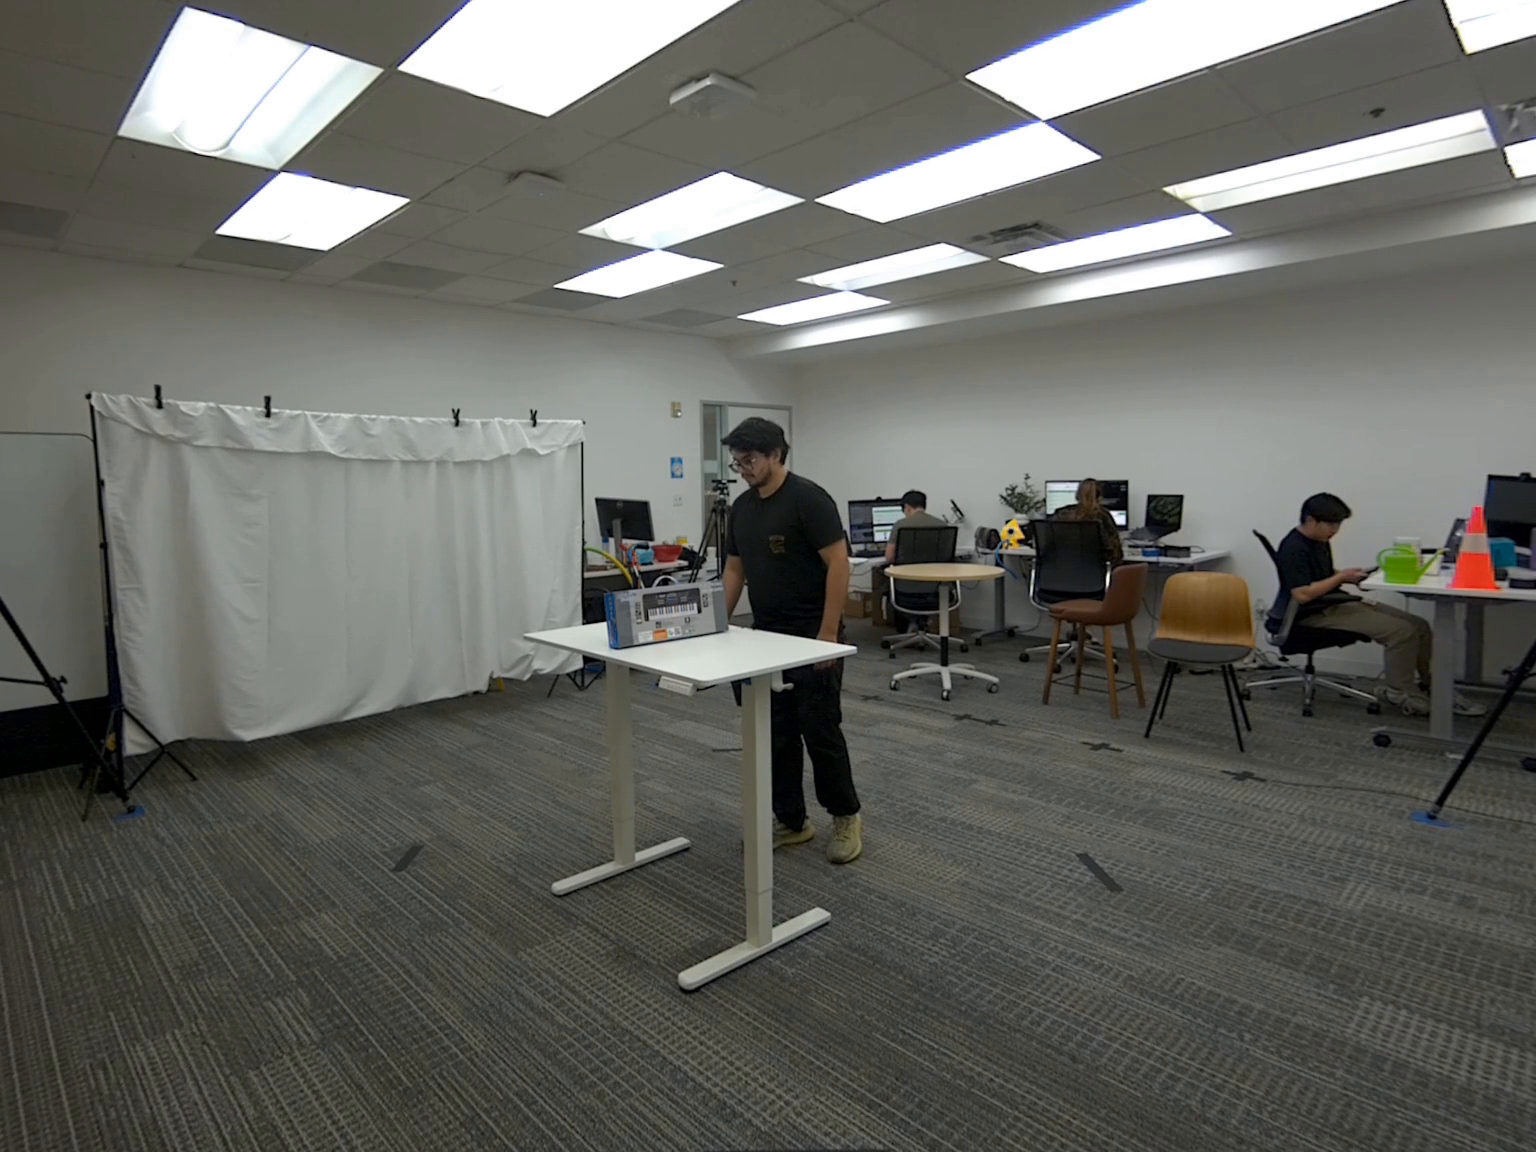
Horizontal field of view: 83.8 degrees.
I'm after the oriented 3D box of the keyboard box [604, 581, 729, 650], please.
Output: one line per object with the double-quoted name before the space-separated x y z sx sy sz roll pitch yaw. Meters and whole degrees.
"keyboard box" -0.322 0.121 2.779 0.425 0.176 0.060 -6 -1 -40
